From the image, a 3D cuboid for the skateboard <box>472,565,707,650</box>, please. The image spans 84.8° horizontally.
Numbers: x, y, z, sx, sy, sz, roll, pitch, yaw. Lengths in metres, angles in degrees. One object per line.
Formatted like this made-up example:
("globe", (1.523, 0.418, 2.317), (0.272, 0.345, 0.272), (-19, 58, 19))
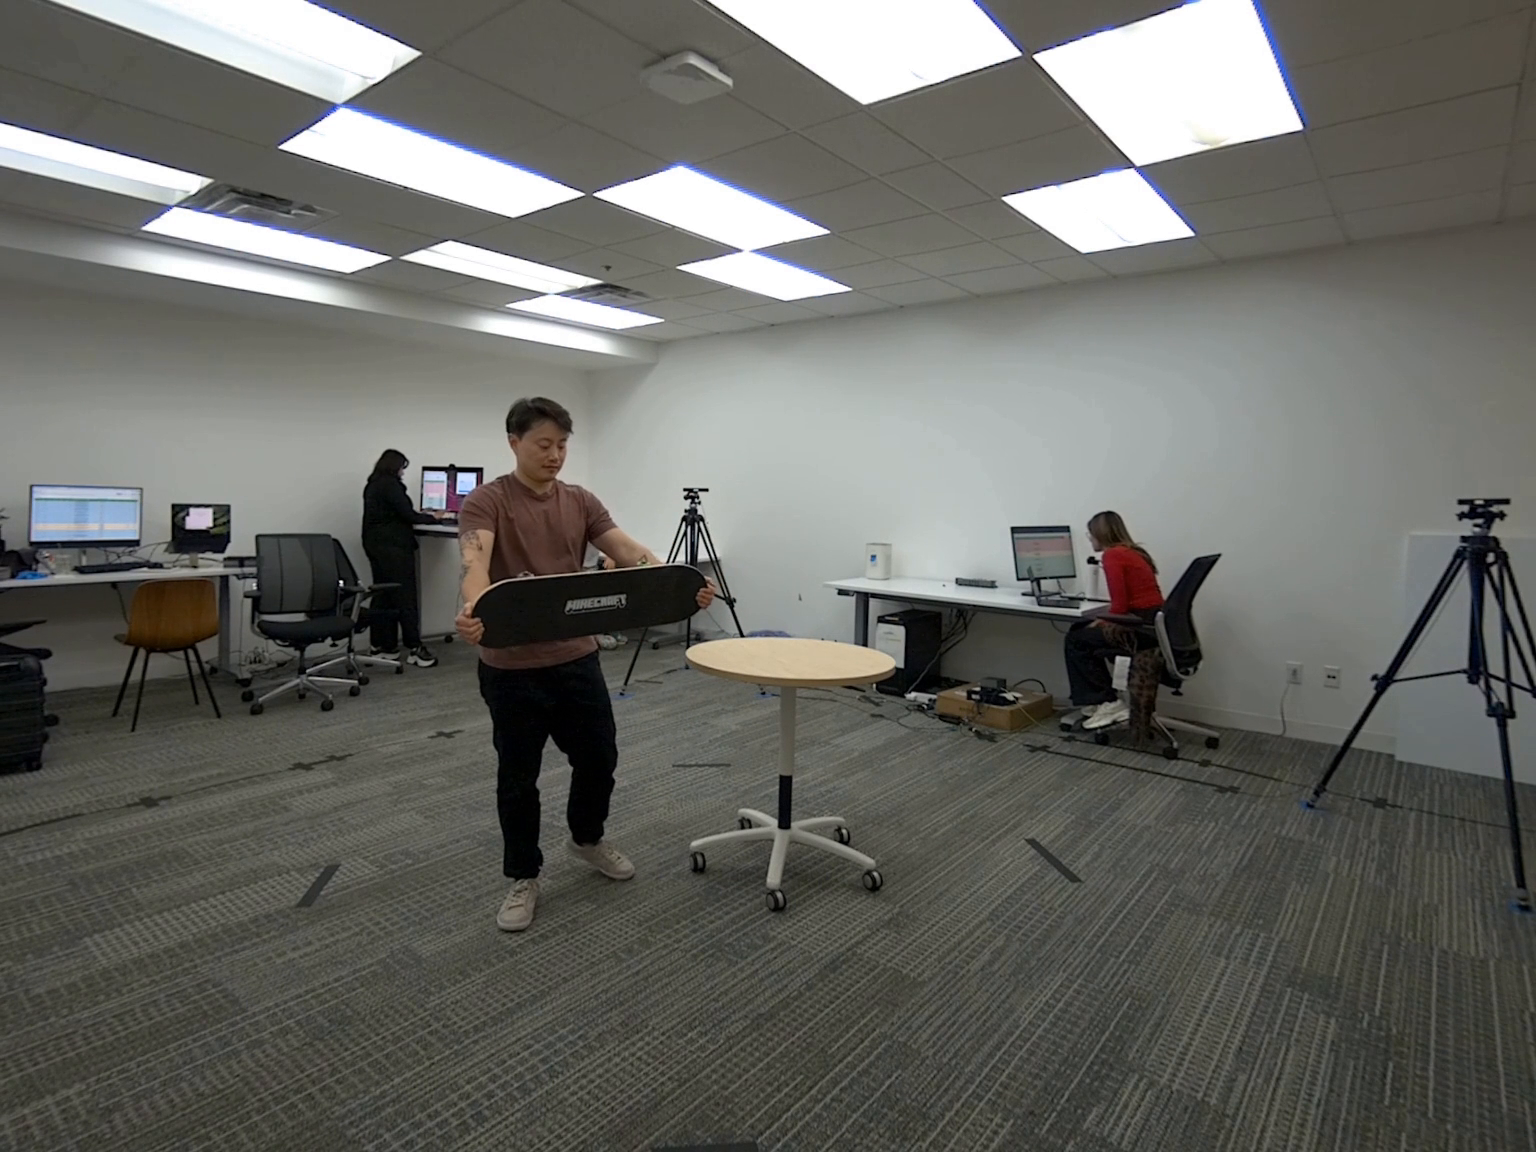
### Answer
("skateboard", (-0.521, 0.072, 2.502), (0.763, 0.192, 0.114), (-6, 14, -39))
